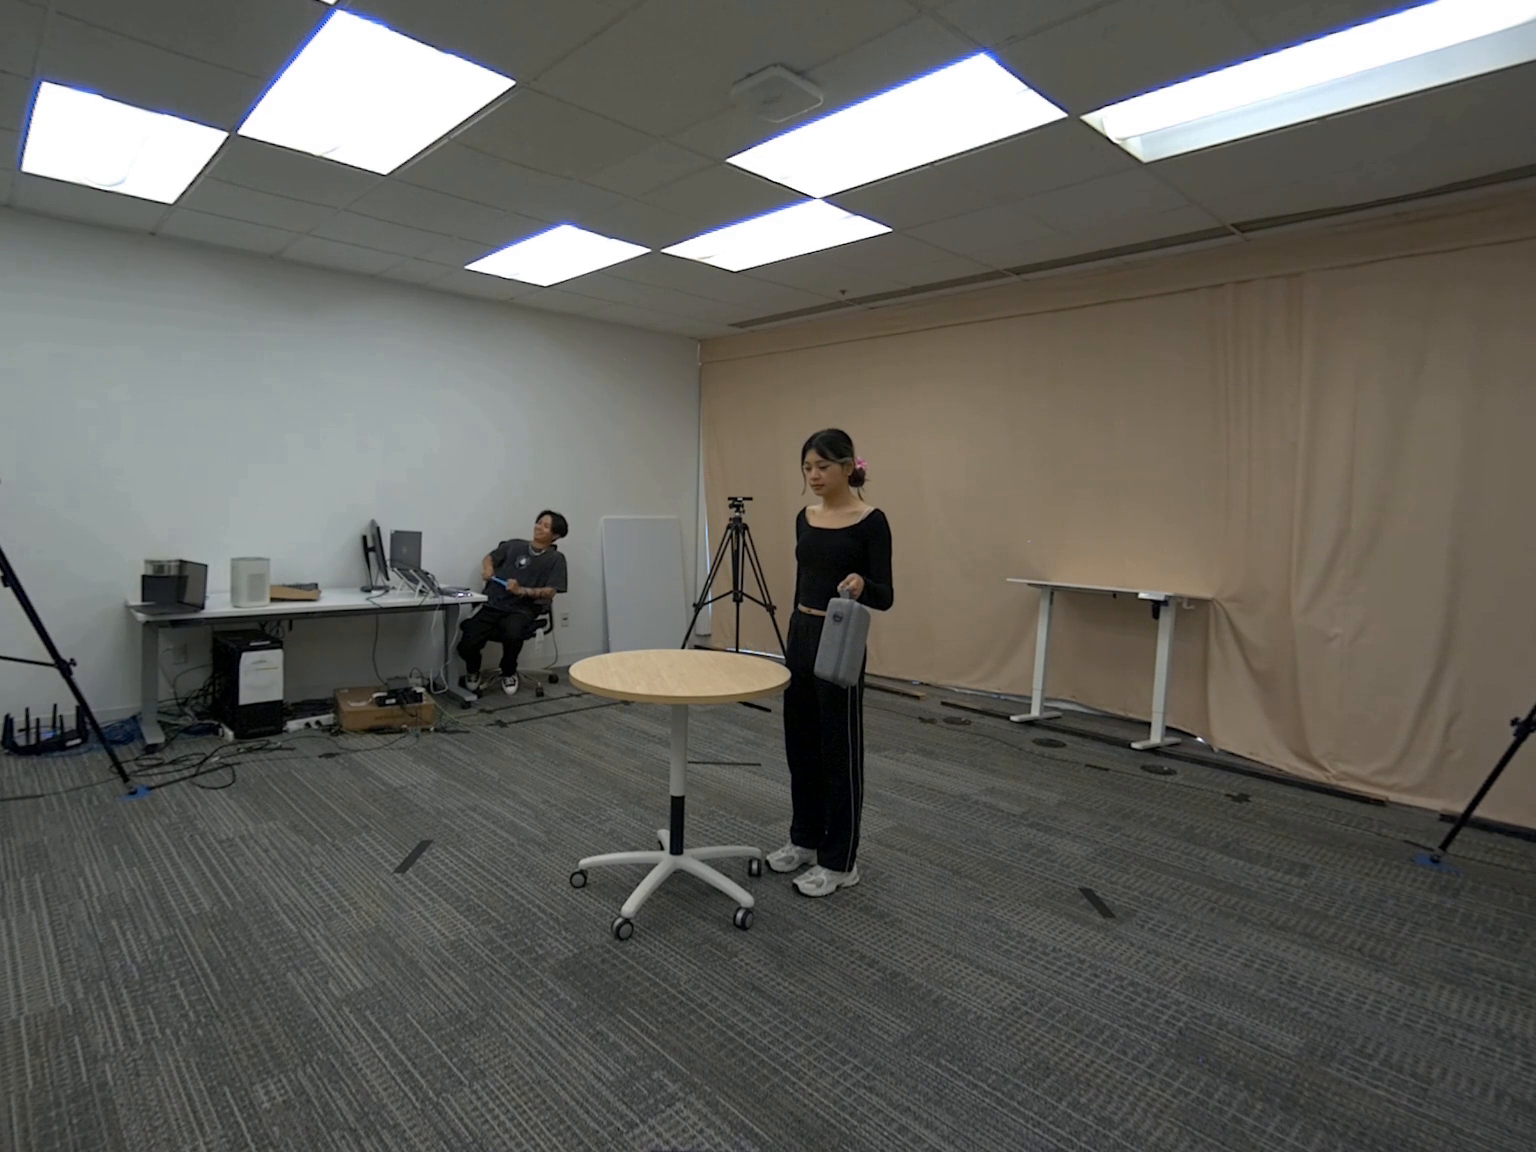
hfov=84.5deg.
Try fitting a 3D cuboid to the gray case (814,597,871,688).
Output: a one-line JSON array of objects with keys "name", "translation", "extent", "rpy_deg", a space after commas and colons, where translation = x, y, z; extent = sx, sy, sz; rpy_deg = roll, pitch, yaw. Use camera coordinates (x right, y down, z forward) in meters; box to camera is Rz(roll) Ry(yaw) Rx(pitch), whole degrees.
[{"name": "gray case", "translation": [0.228, 0.206, 2.618], "extent": [0.106, 0.262, 0.251], "rpy_deg": [10, -9, 16]}]
